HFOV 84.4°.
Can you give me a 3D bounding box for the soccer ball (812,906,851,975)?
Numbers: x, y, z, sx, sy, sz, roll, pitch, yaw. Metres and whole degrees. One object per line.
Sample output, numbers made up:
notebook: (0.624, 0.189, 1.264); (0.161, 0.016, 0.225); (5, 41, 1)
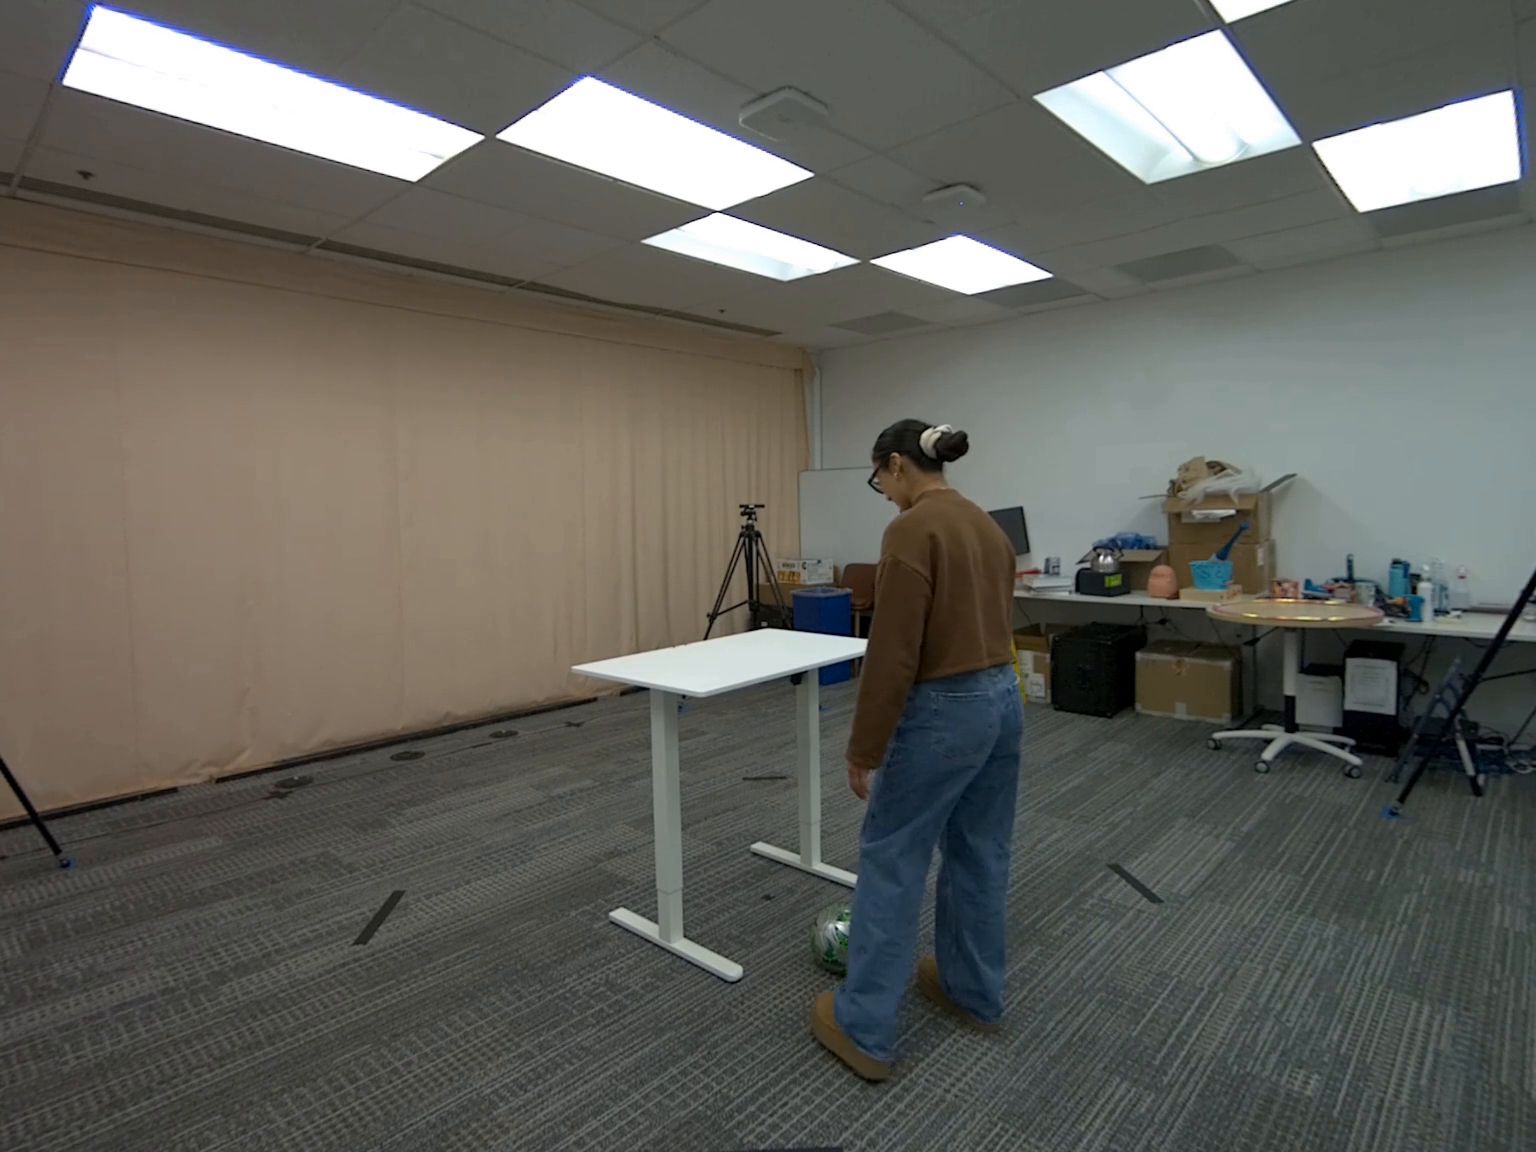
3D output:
soccer ball: (0.224, 1.079, 2.516); (0.187, 0.187, 0.188); (-1, 4, -2)
